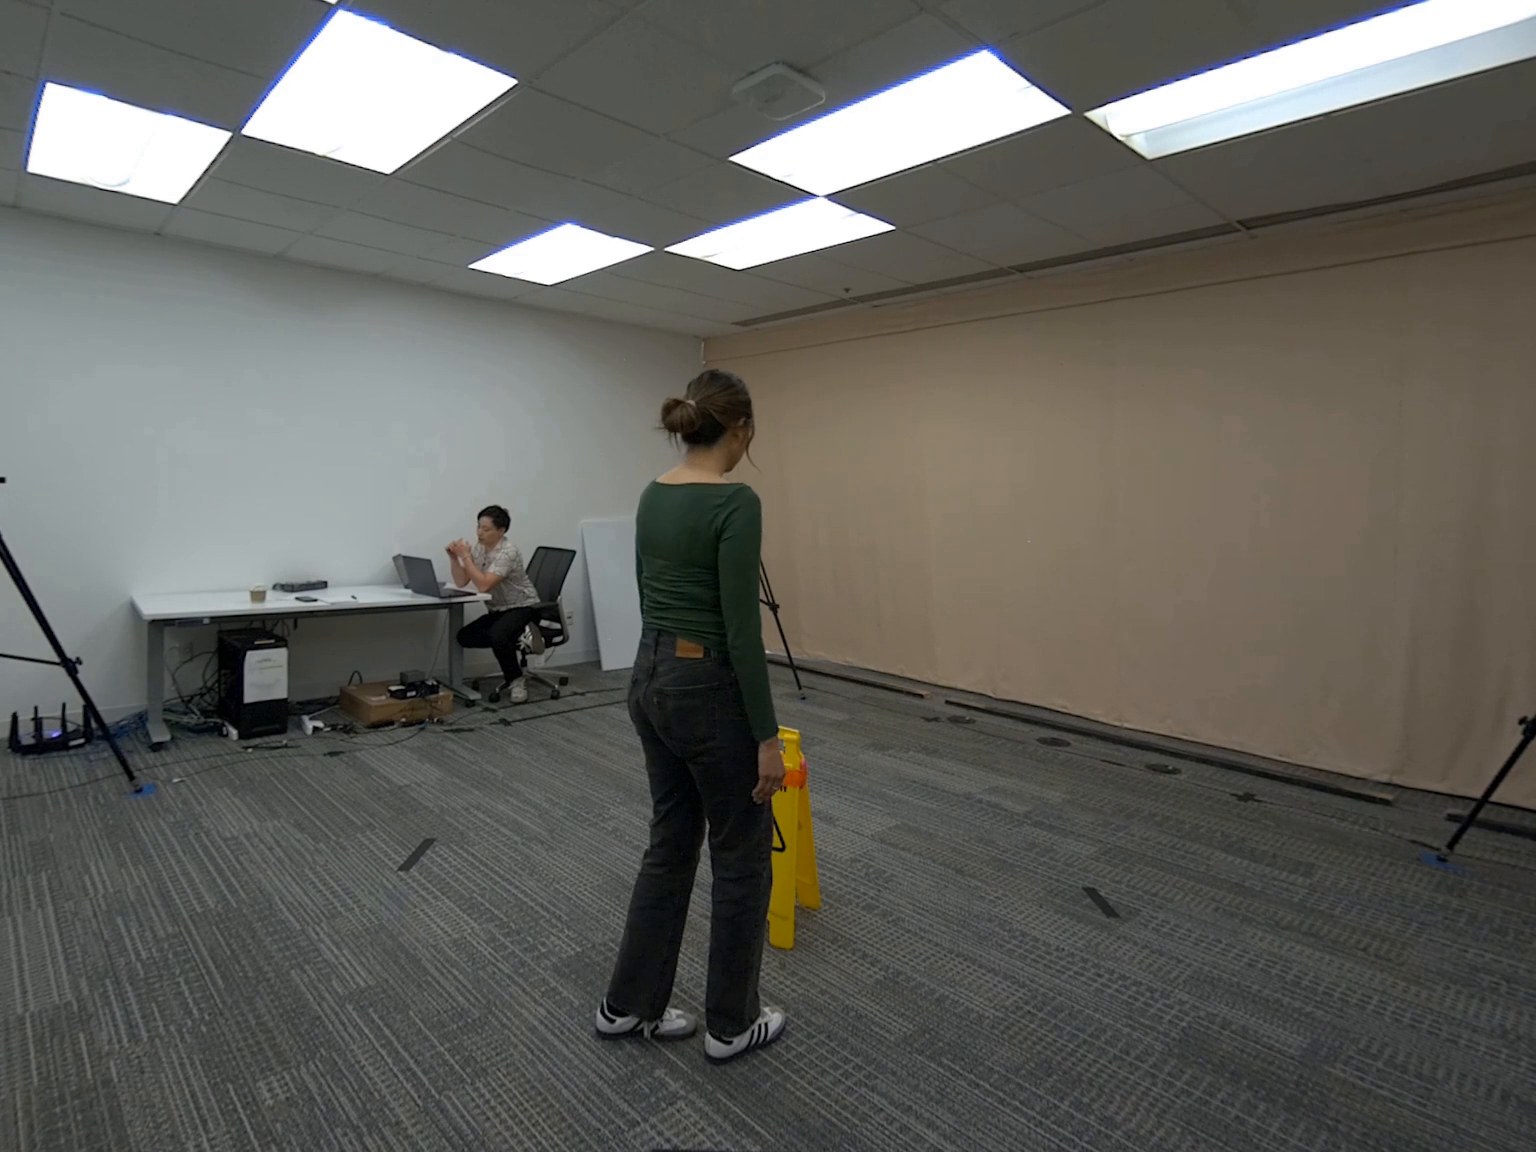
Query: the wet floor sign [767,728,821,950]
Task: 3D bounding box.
[{"bbox_3d":[0.002,0.814,2.763,0.287,0.644,0.285,4,4,23],"label":"wet floor sign"}]
